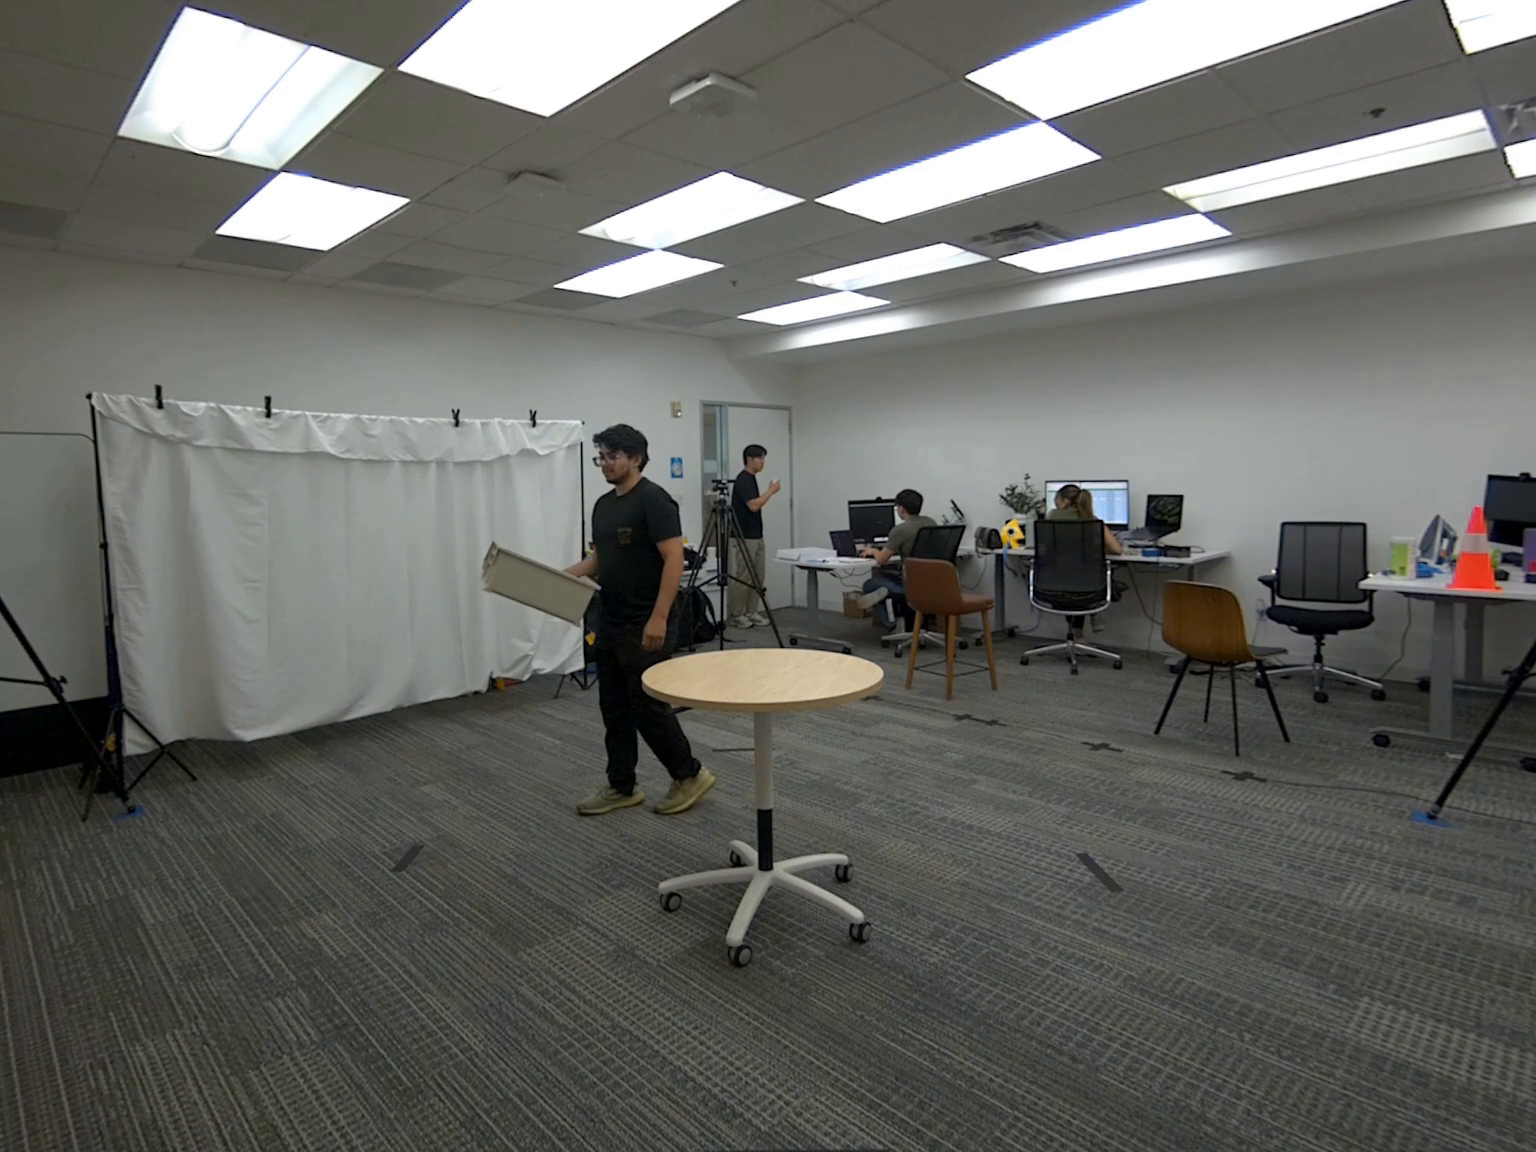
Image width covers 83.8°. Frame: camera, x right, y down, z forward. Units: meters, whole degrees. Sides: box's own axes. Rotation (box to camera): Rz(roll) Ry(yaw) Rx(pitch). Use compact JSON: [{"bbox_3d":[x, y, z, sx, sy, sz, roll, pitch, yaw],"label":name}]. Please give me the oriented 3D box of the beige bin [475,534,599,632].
[{"bbox_3d":[-0.934,0.020,3.471,0.412,0.189,0.387,25,-1,-22],"label":"beige bin"}]
